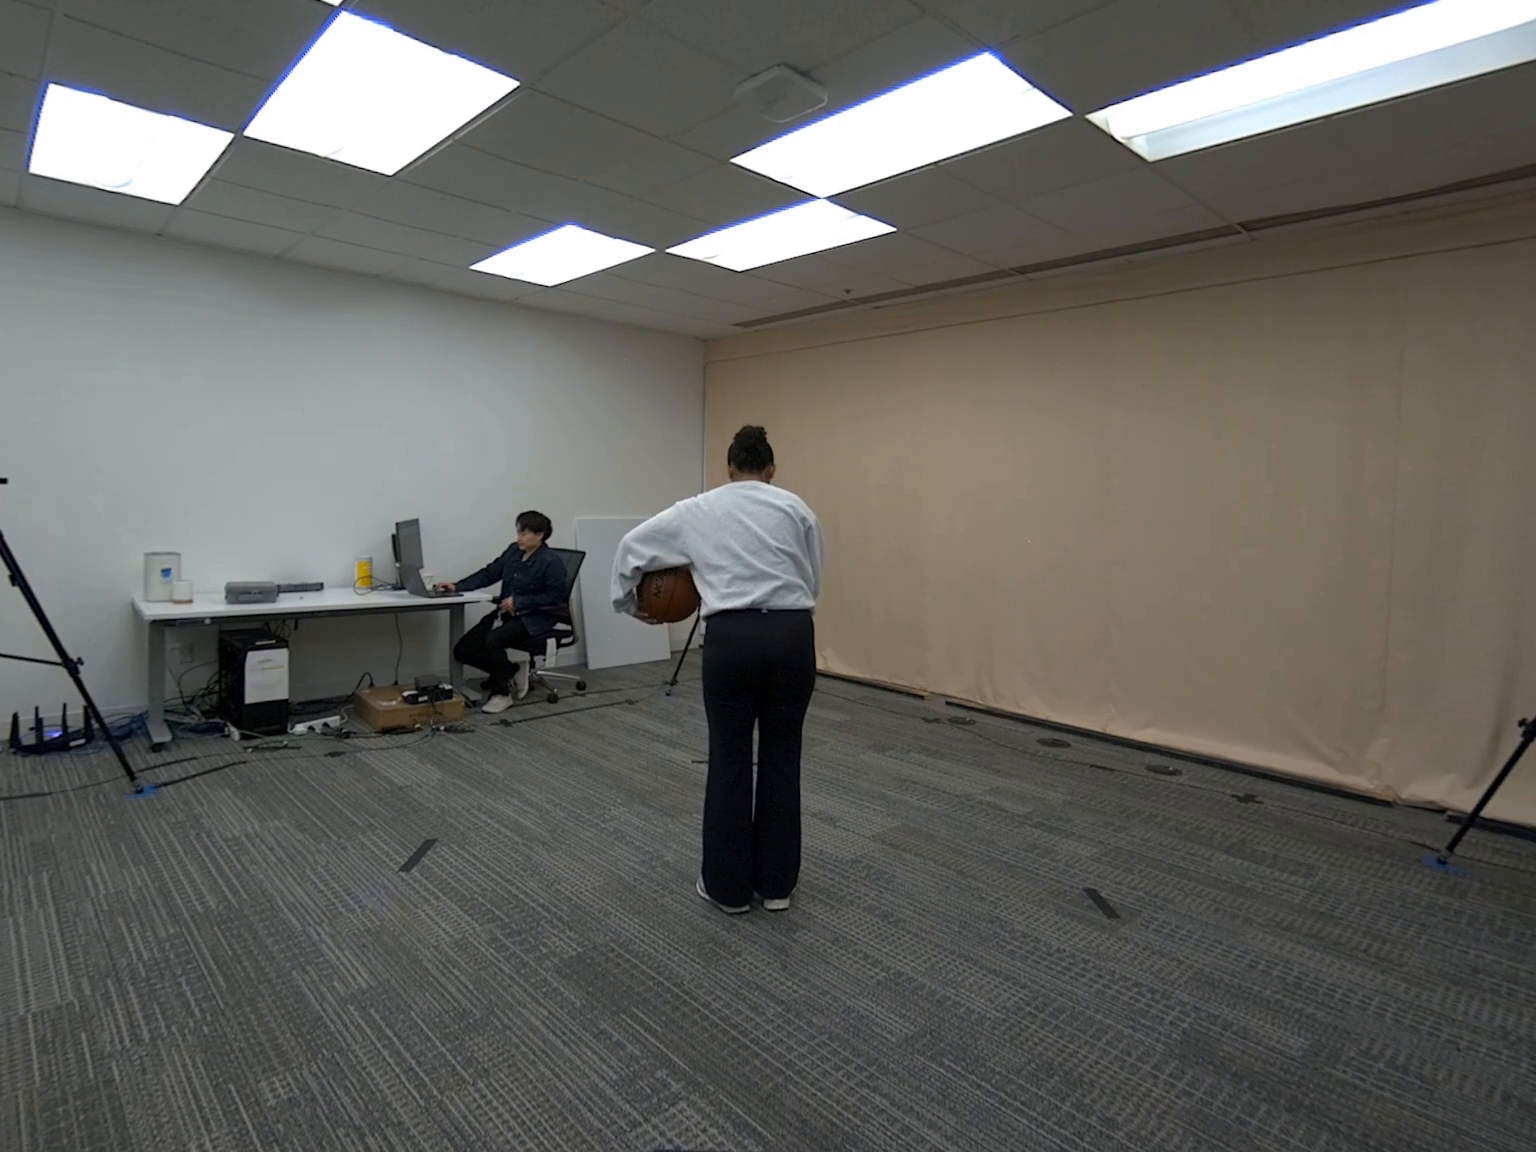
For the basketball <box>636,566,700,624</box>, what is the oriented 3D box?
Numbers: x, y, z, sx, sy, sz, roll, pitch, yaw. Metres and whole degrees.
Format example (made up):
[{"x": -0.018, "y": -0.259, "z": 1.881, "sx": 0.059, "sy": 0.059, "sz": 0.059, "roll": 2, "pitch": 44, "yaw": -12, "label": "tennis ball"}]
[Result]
[{"x": -0.337, "y": 0.056, "z": 2.995, "sx": 0.236, "sy": 0.235, "sz": 0.237, "roll": 1, "pitch": 4, "yaw": -1, "label": "basketball"}]
